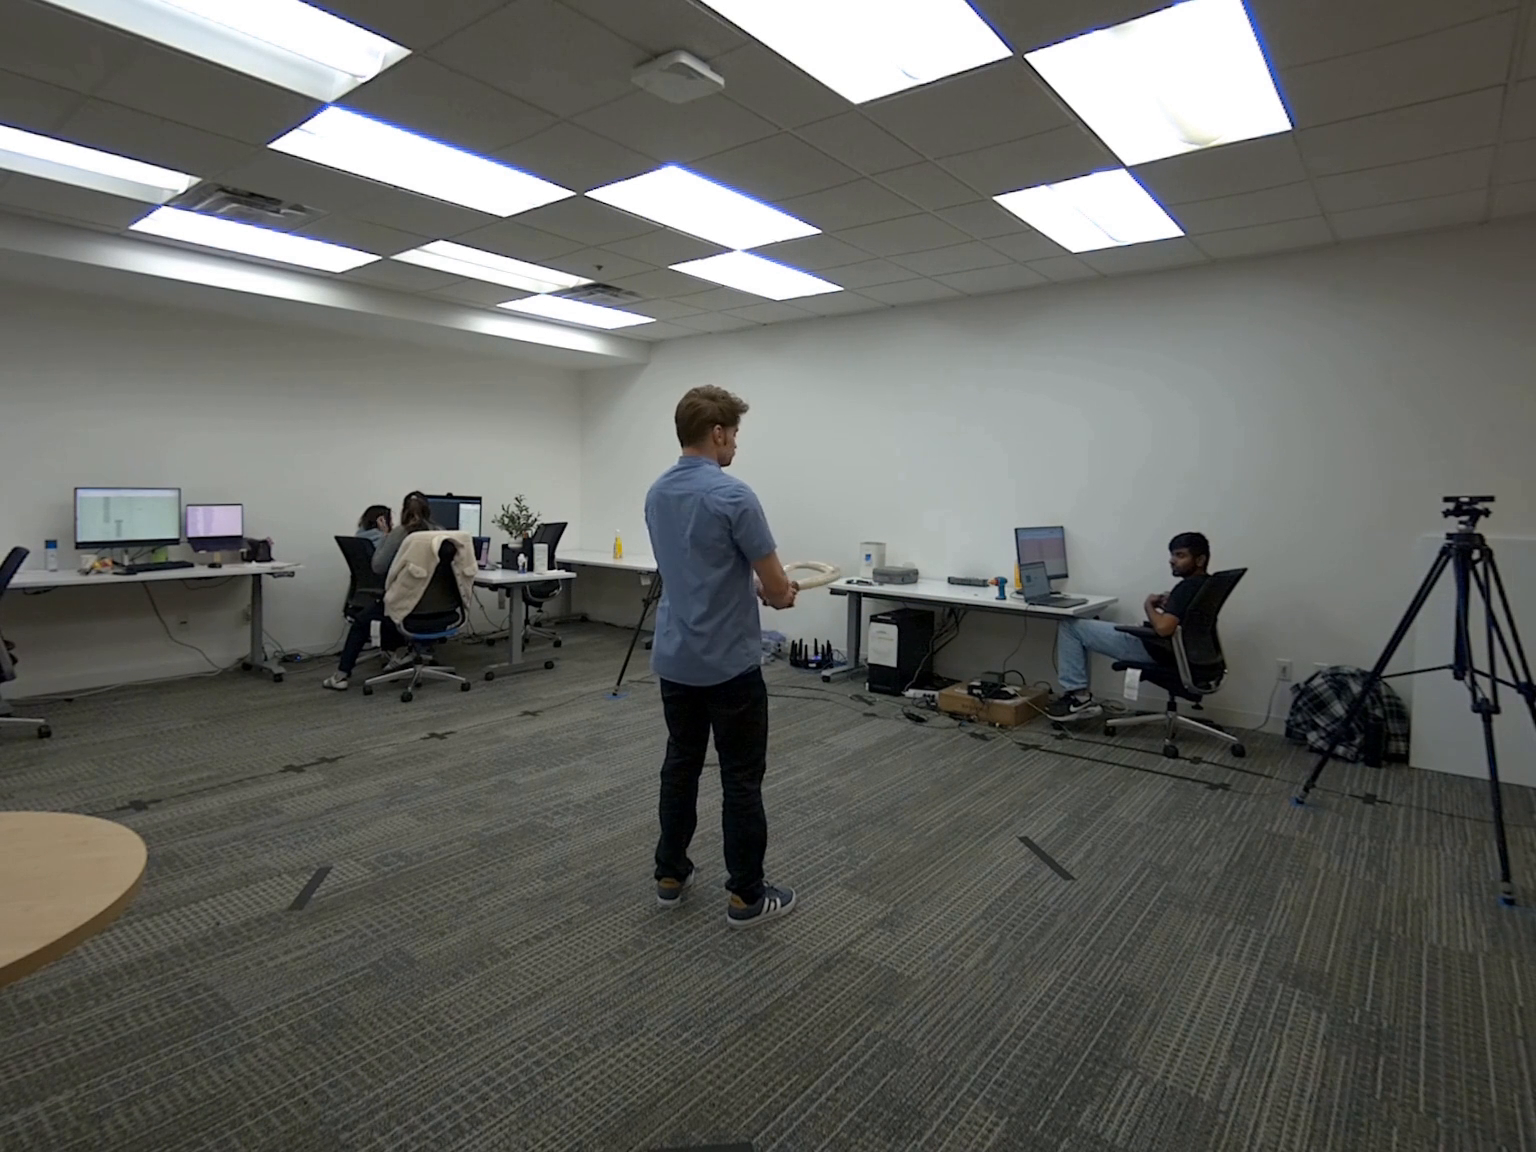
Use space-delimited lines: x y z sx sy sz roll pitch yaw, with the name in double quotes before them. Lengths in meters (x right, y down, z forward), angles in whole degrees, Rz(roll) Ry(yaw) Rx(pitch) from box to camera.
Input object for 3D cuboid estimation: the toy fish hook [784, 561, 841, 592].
"toy fish hook" 0.066 0.025 3.156 0.232 0.047 0.497 8 18 31
